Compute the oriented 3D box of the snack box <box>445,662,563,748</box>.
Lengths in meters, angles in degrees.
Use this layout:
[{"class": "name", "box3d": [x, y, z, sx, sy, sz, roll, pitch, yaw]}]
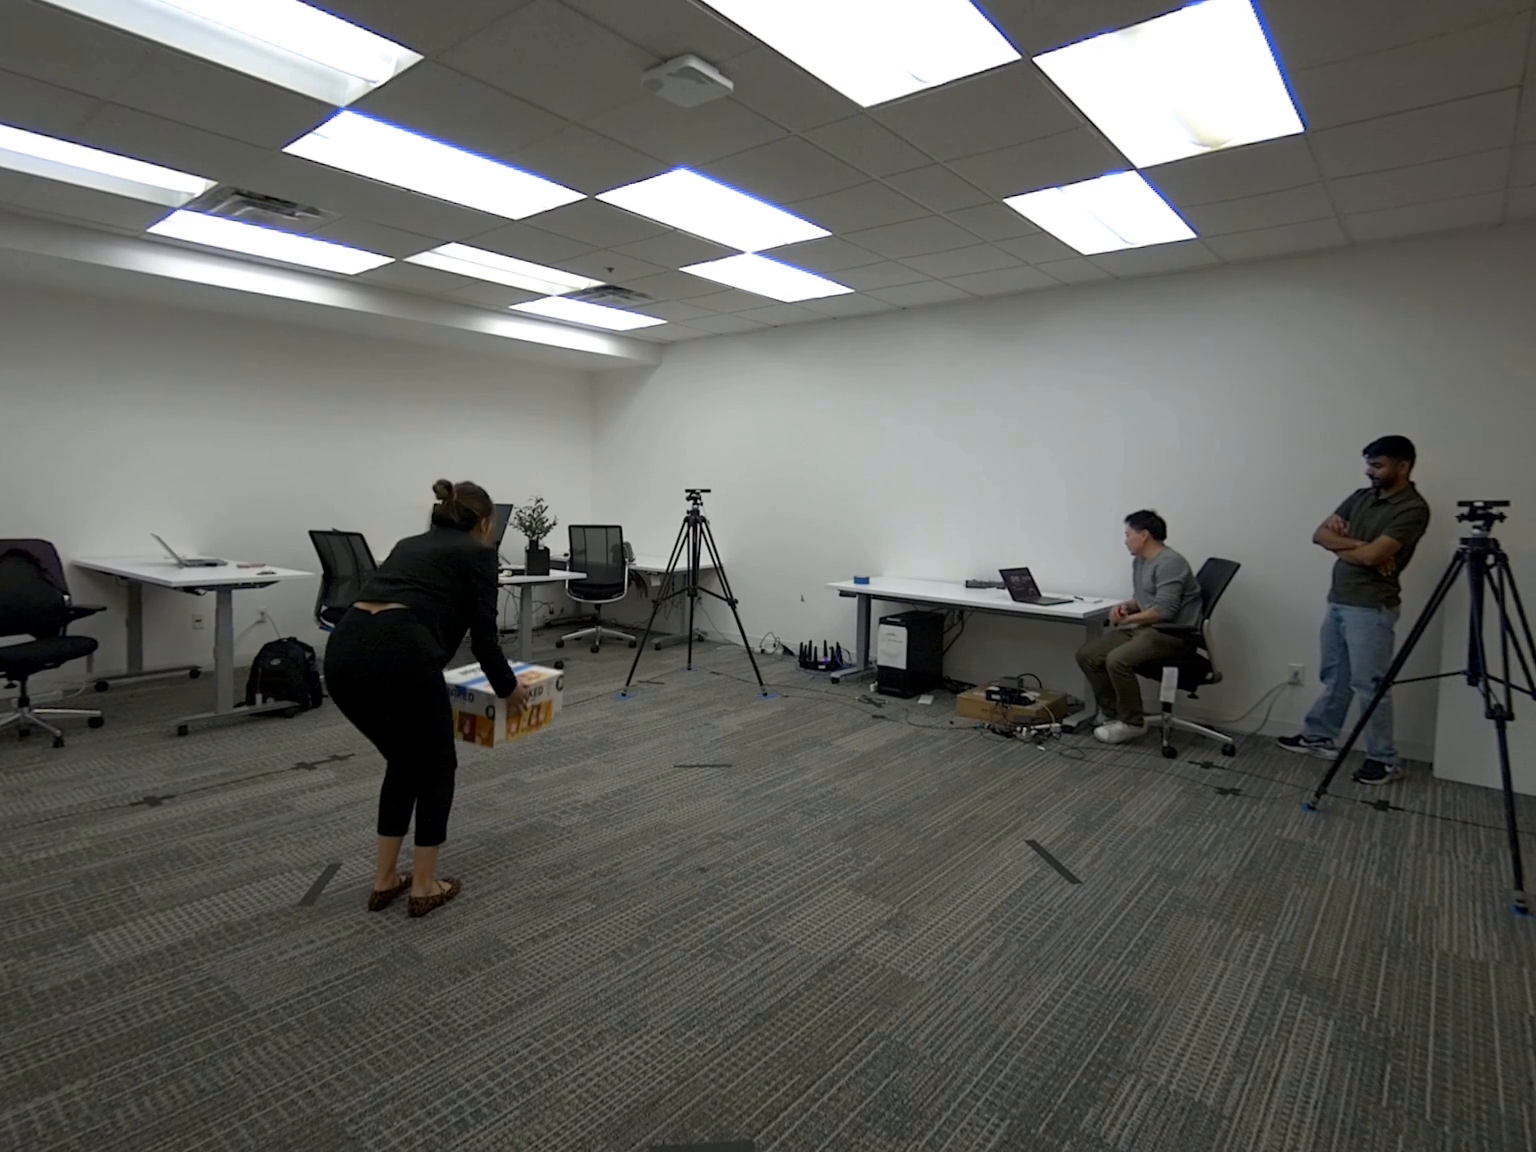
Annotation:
[{"class": "snack box", "box3d": [-1.062, 0.475, 3.265, 0.349, 0.204, 0.397, 8, 8, 24]}]
